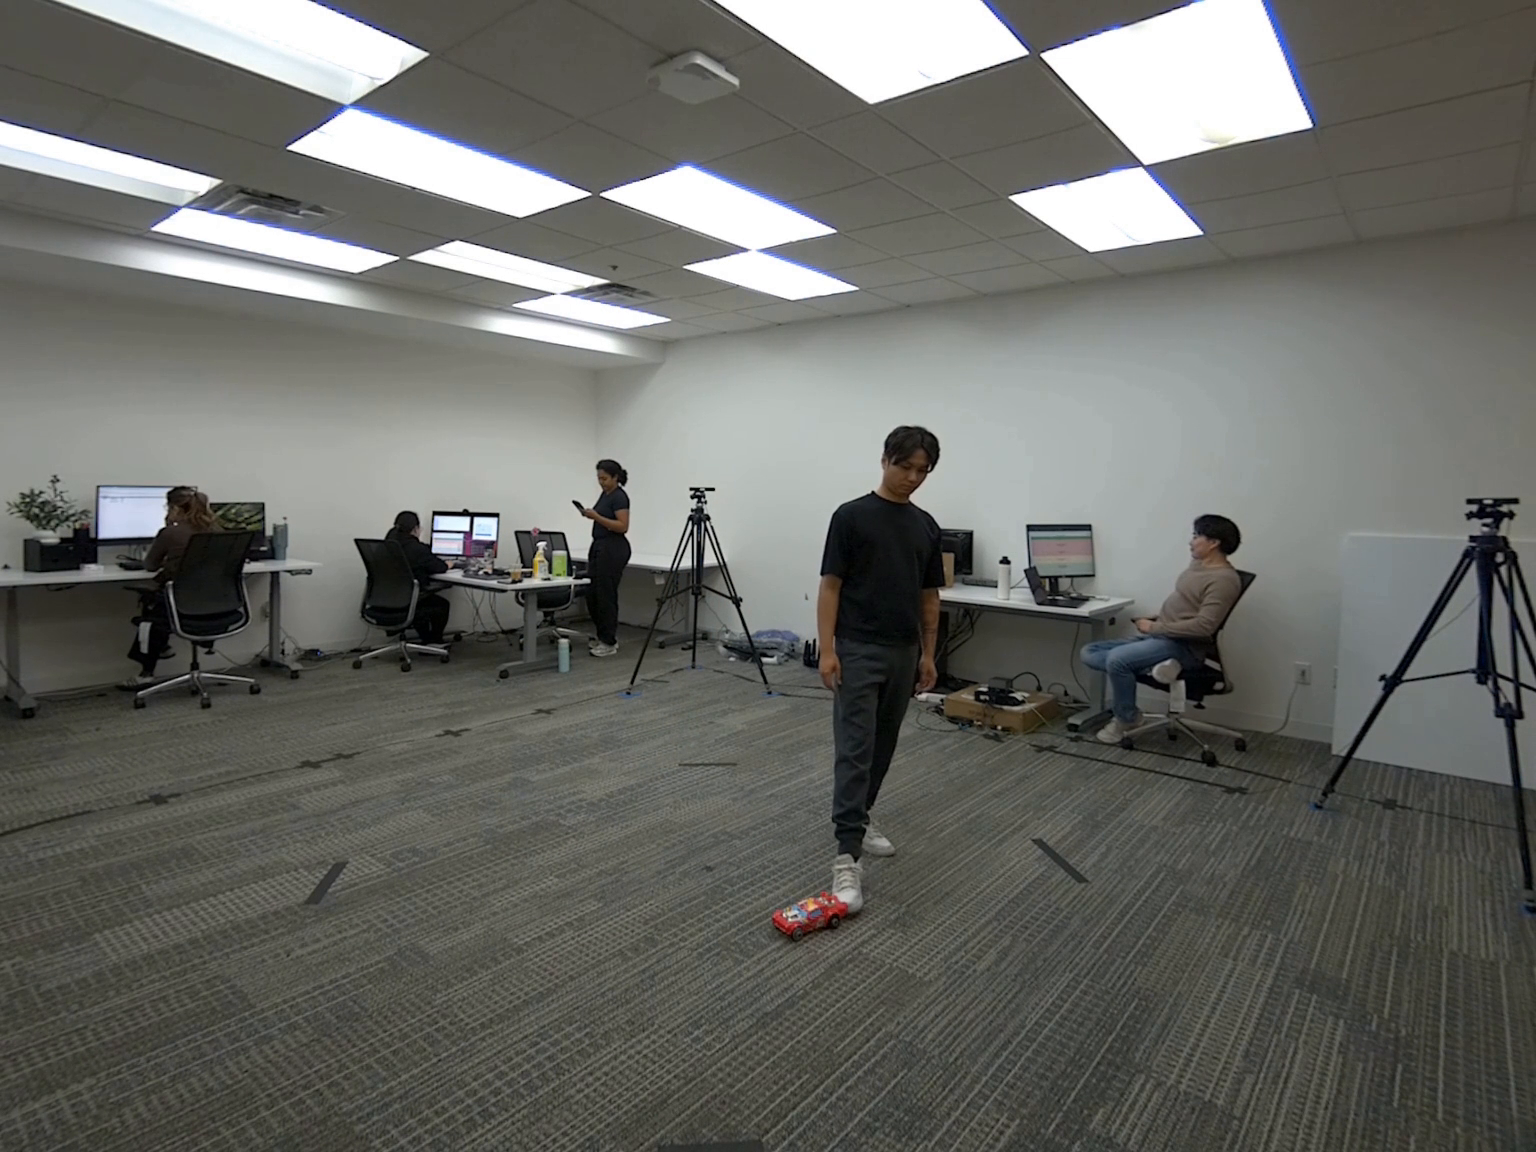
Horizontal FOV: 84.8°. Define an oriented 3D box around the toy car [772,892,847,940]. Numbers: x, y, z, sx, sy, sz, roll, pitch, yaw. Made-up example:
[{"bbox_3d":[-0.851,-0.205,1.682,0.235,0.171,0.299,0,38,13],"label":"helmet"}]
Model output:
[{"bbox_3d":[0.140,1.081,2.717,0.249,0.082,0.134,-15,13,-31],"label":"toy car"}]
